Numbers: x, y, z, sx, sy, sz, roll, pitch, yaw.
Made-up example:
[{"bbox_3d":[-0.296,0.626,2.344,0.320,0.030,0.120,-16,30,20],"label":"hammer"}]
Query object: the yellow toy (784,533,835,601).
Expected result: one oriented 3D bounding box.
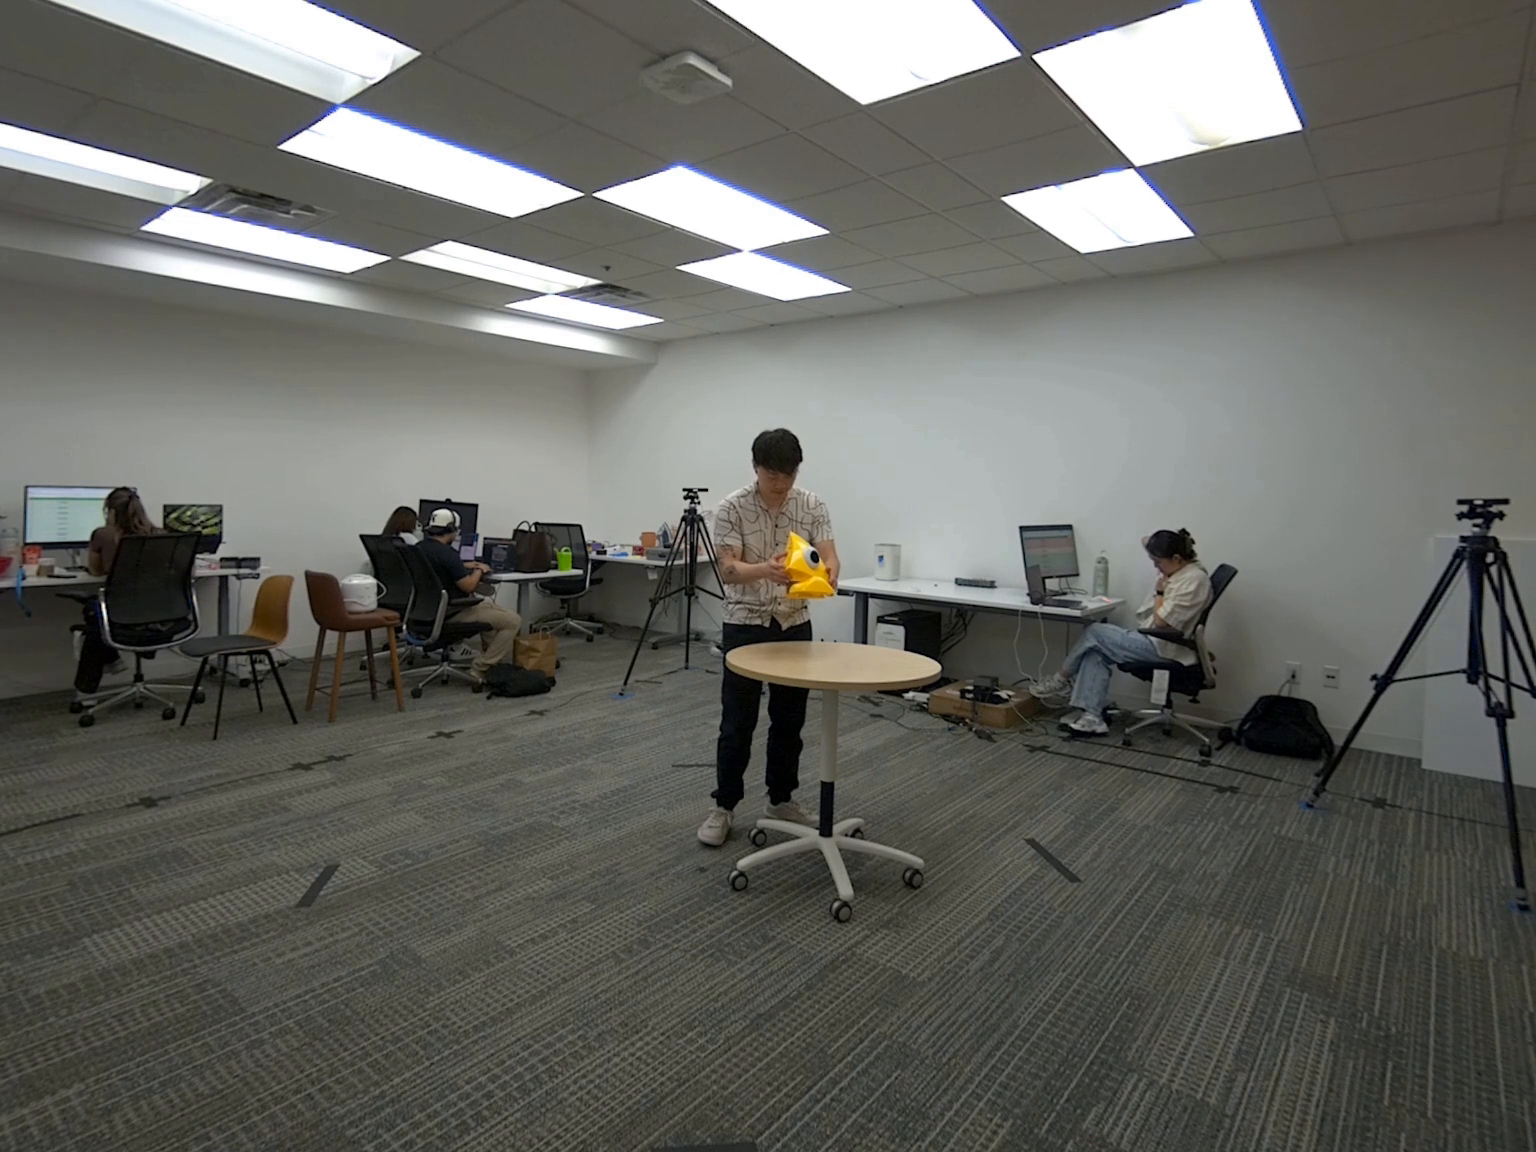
[{"bbox_3d":[0.122,-0.048,3.092,0.190,0.233,0.205,2,-11,-14],"label":"yellow toy"}]
